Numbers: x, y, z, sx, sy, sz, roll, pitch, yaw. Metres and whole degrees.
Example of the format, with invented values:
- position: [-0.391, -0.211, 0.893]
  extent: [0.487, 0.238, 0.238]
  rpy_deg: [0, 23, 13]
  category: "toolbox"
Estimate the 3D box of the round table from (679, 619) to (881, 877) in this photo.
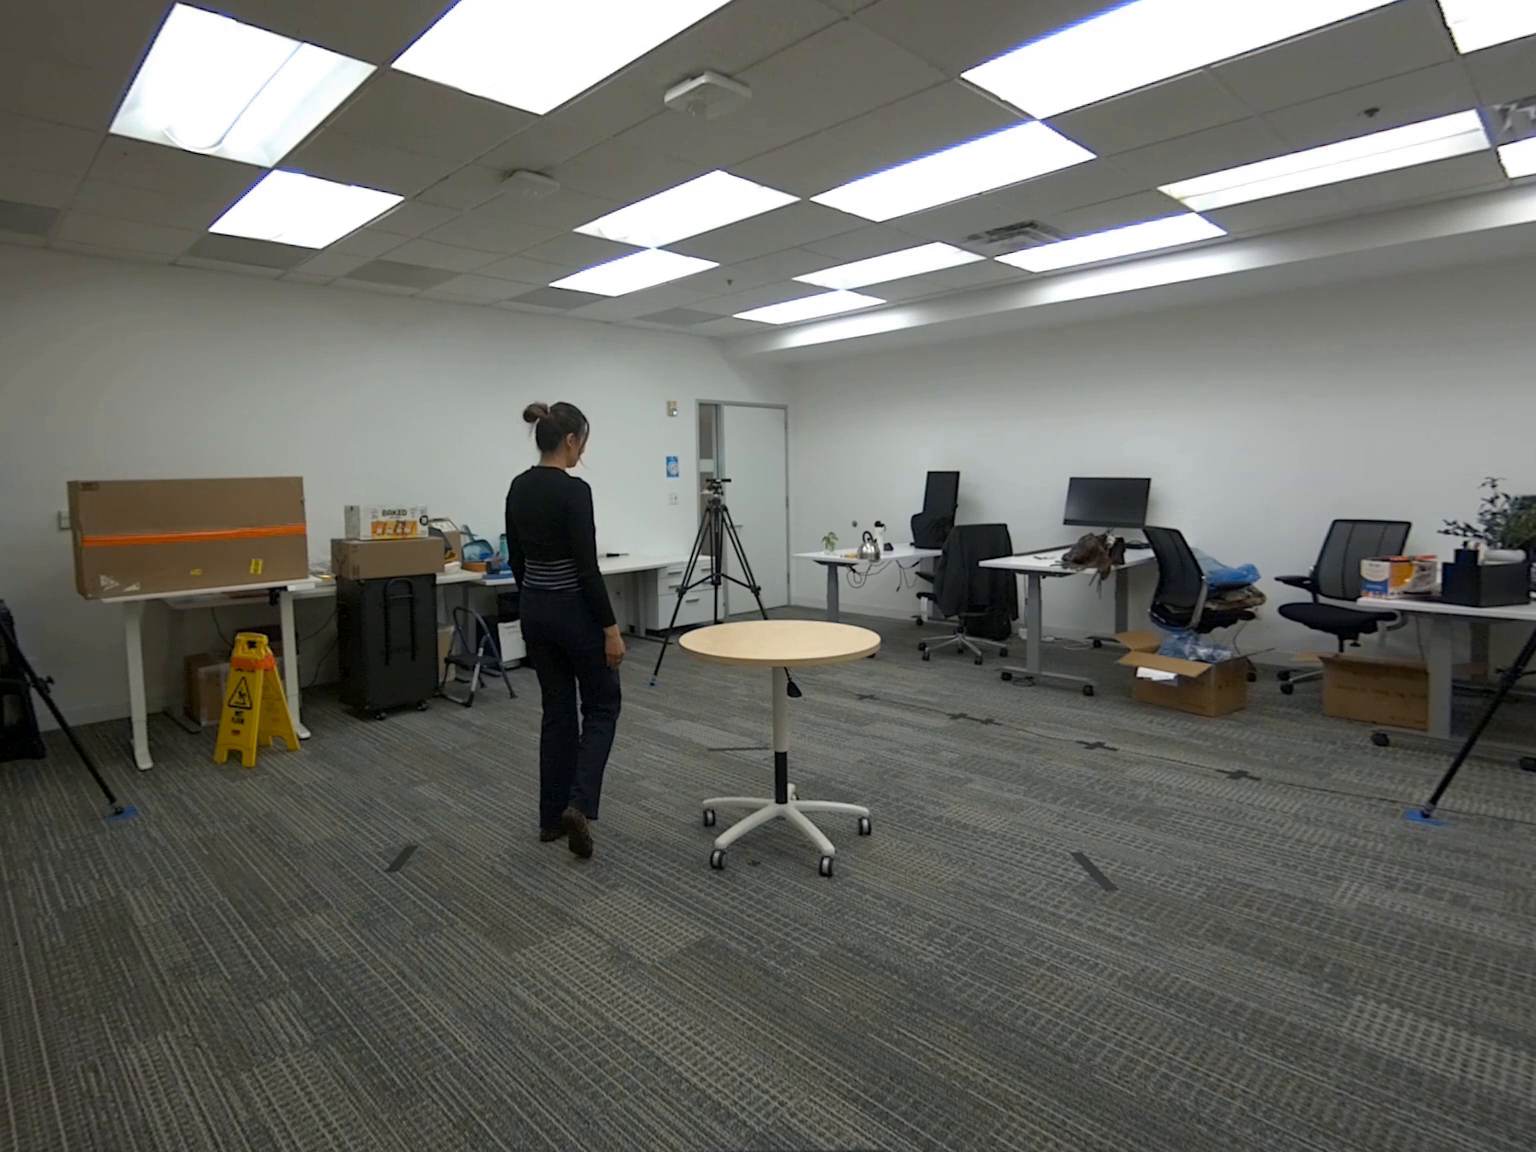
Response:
- position: [0.047, 0.628, 3.295]
  extent: [0.763, 0.791, 0.768]
  rpy_deg: [-1, 5, -2]
  category: "round table"
